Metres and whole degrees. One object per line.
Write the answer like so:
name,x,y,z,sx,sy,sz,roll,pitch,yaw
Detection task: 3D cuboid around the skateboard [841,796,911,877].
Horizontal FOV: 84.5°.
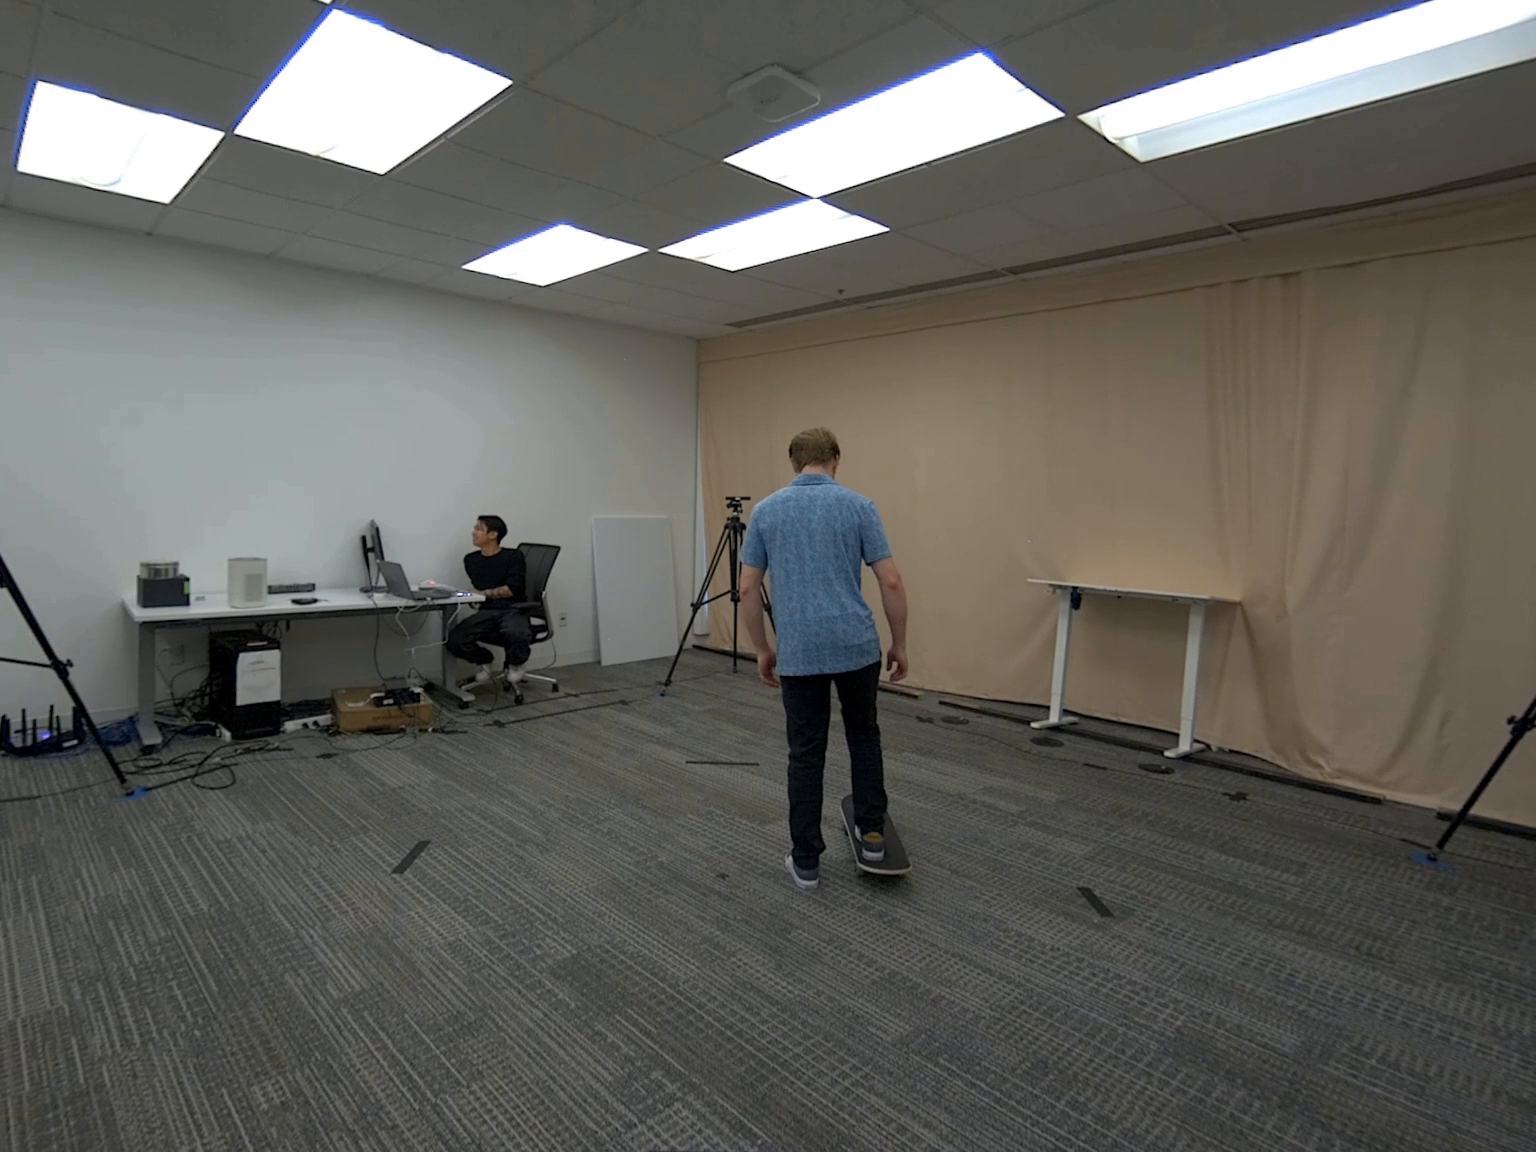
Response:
skateboard,0.402,1.038,3.327,0.193,0.110,0.788,1,5,-1
